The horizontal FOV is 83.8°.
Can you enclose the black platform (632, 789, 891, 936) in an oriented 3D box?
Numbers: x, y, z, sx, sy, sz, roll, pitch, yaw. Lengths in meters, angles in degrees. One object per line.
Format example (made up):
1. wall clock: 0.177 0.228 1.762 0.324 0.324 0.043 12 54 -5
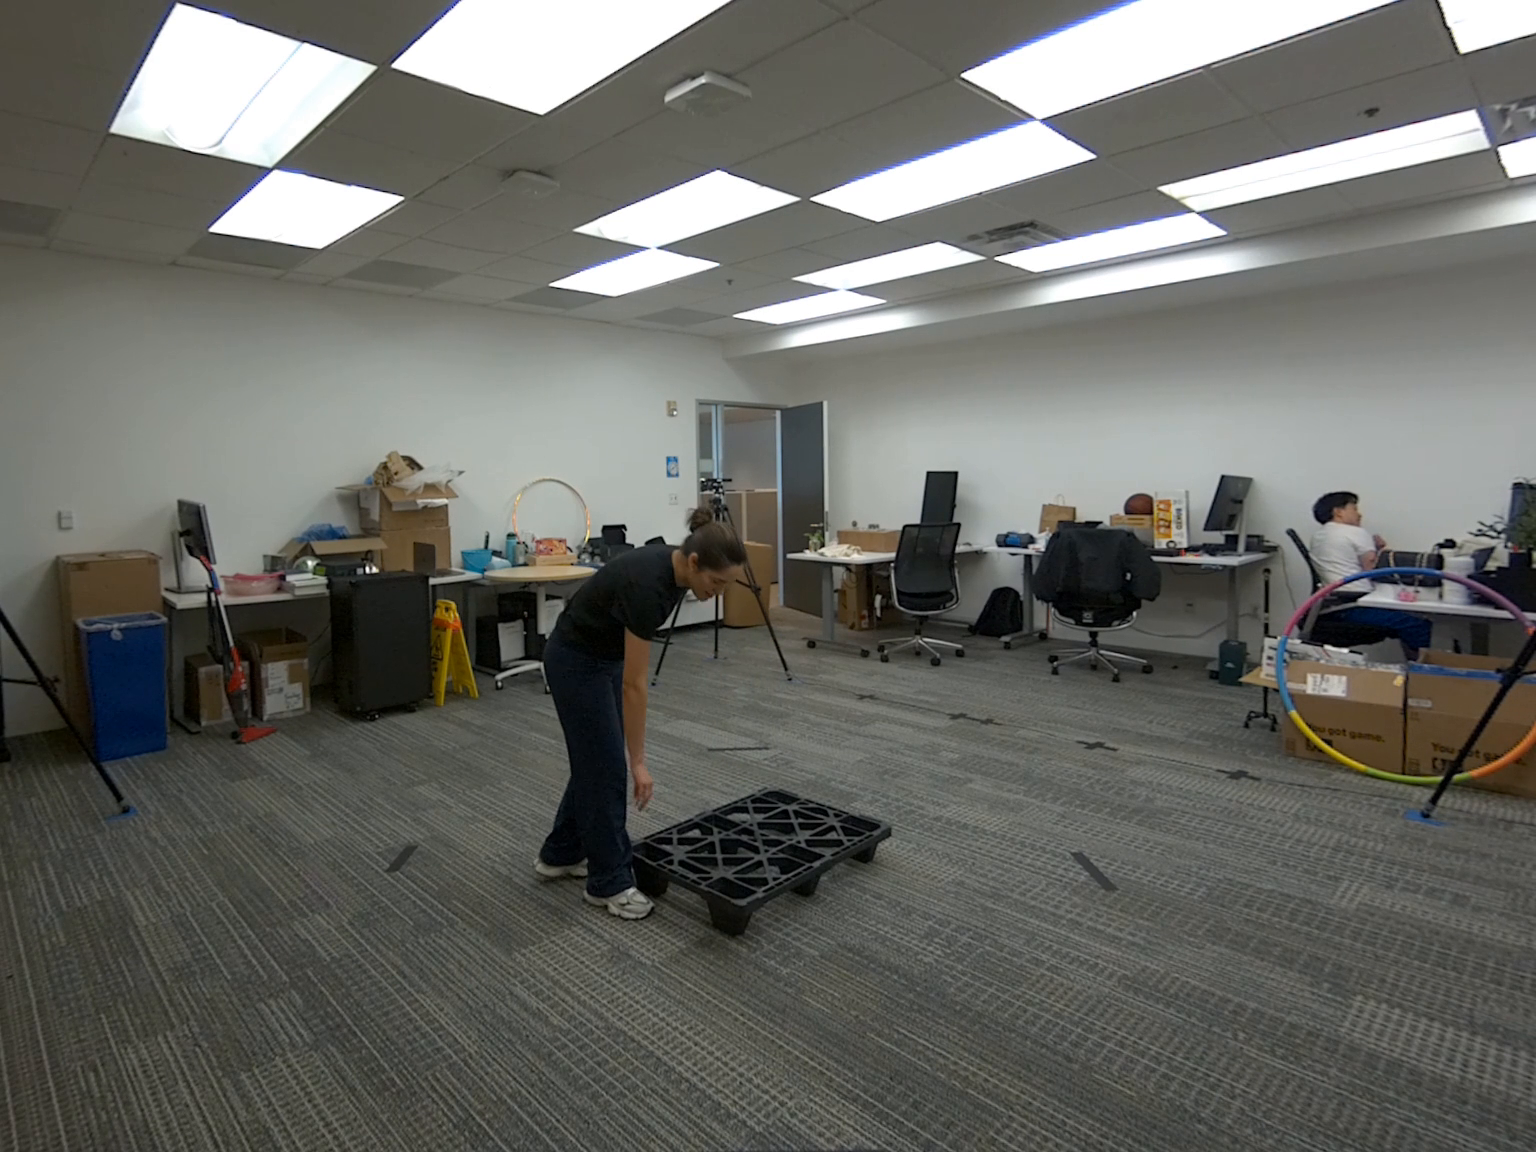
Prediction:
1. black platform: -0.024 0.987 3.037 0.624 0.142 0.785 6 10 43
